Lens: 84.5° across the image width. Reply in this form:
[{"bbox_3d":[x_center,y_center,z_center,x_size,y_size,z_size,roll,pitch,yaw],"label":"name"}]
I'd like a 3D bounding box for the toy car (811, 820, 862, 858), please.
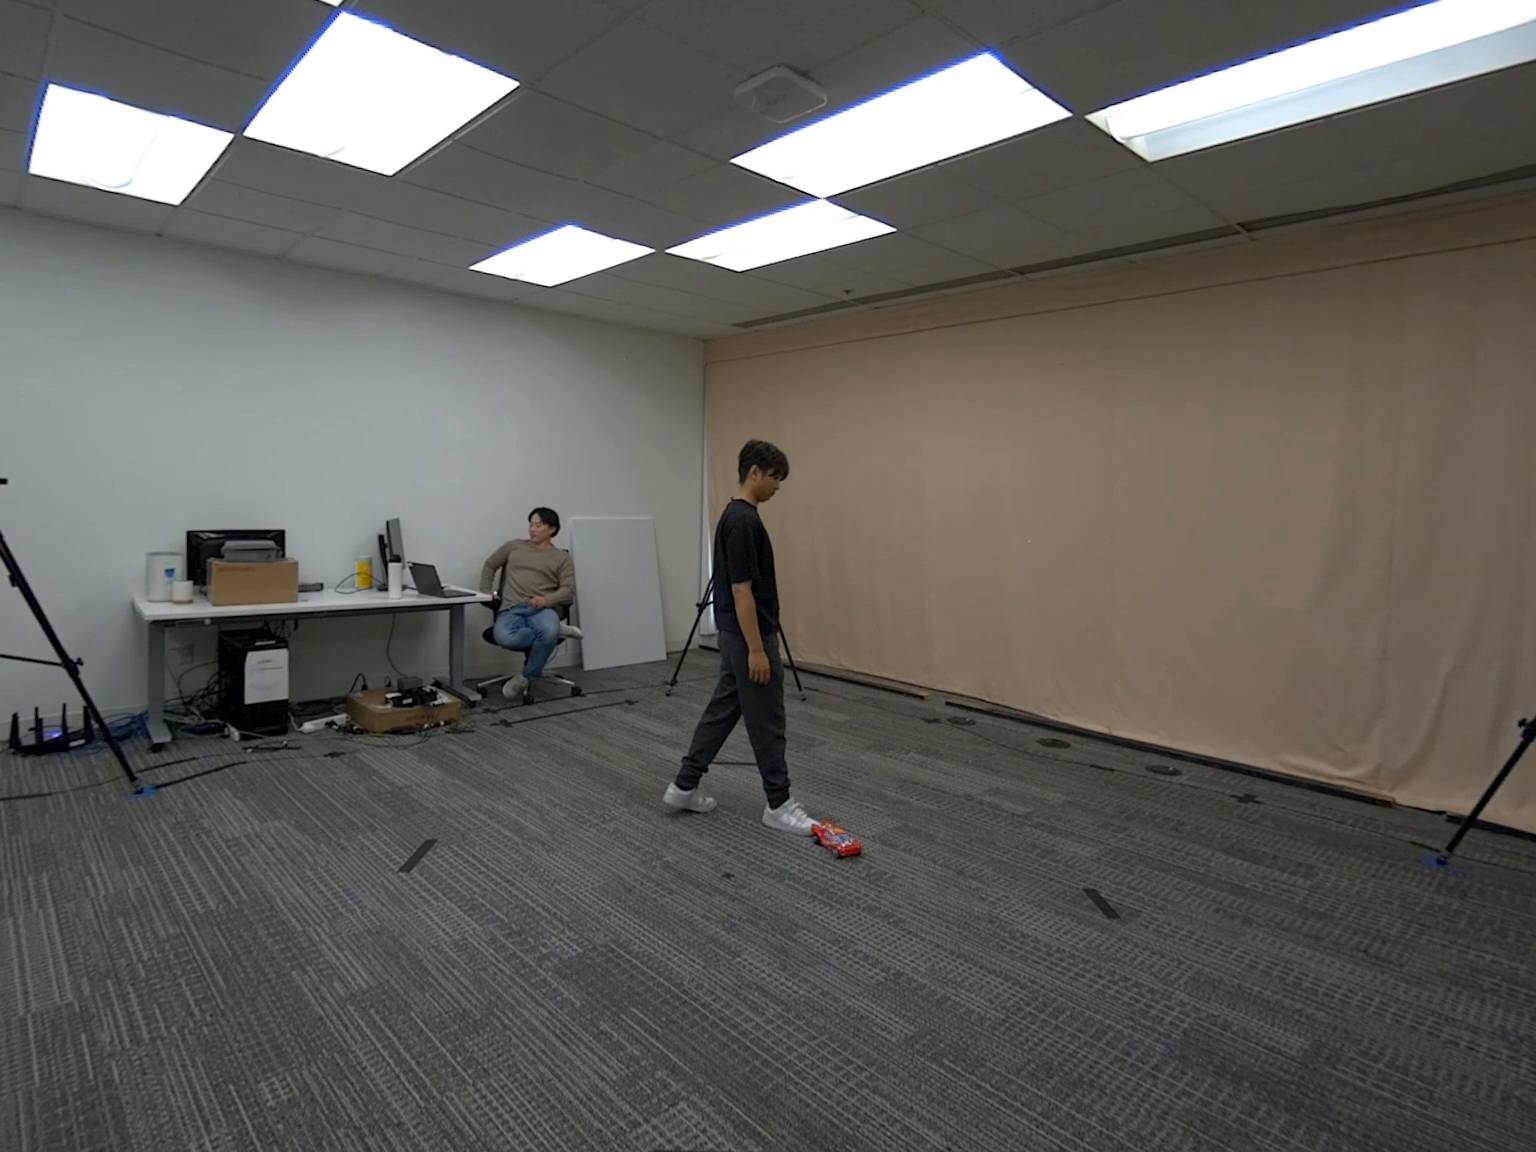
[{"bbox_3d":[0.259,1.061,3.391,0.128,0.082,0.261,-1,16,-26],"label":"toy car"}]
